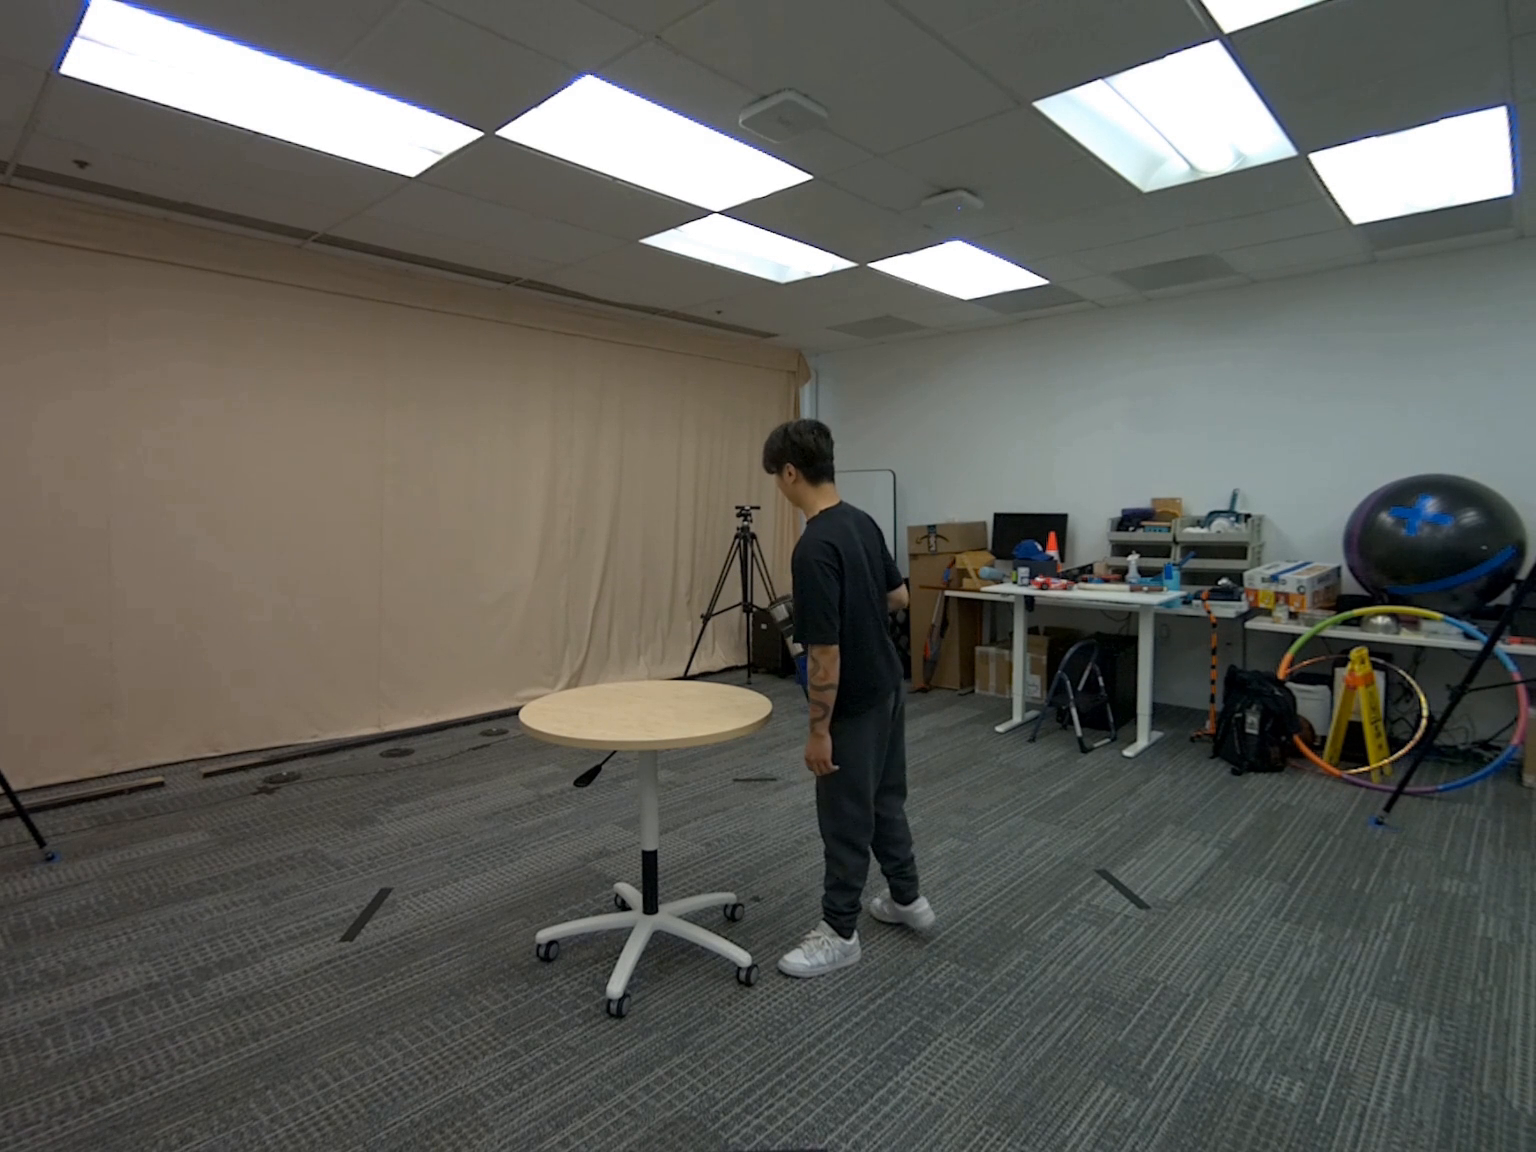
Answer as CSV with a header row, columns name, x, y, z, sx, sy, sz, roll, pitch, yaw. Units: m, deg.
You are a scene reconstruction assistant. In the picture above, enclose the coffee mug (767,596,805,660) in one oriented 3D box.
name,x,y,z,sx,sy,sz,roll,pitch,yaw
coffee mug,0.098,0.171,2.773,0.085,0.205,0.124,-9,-17,-42
